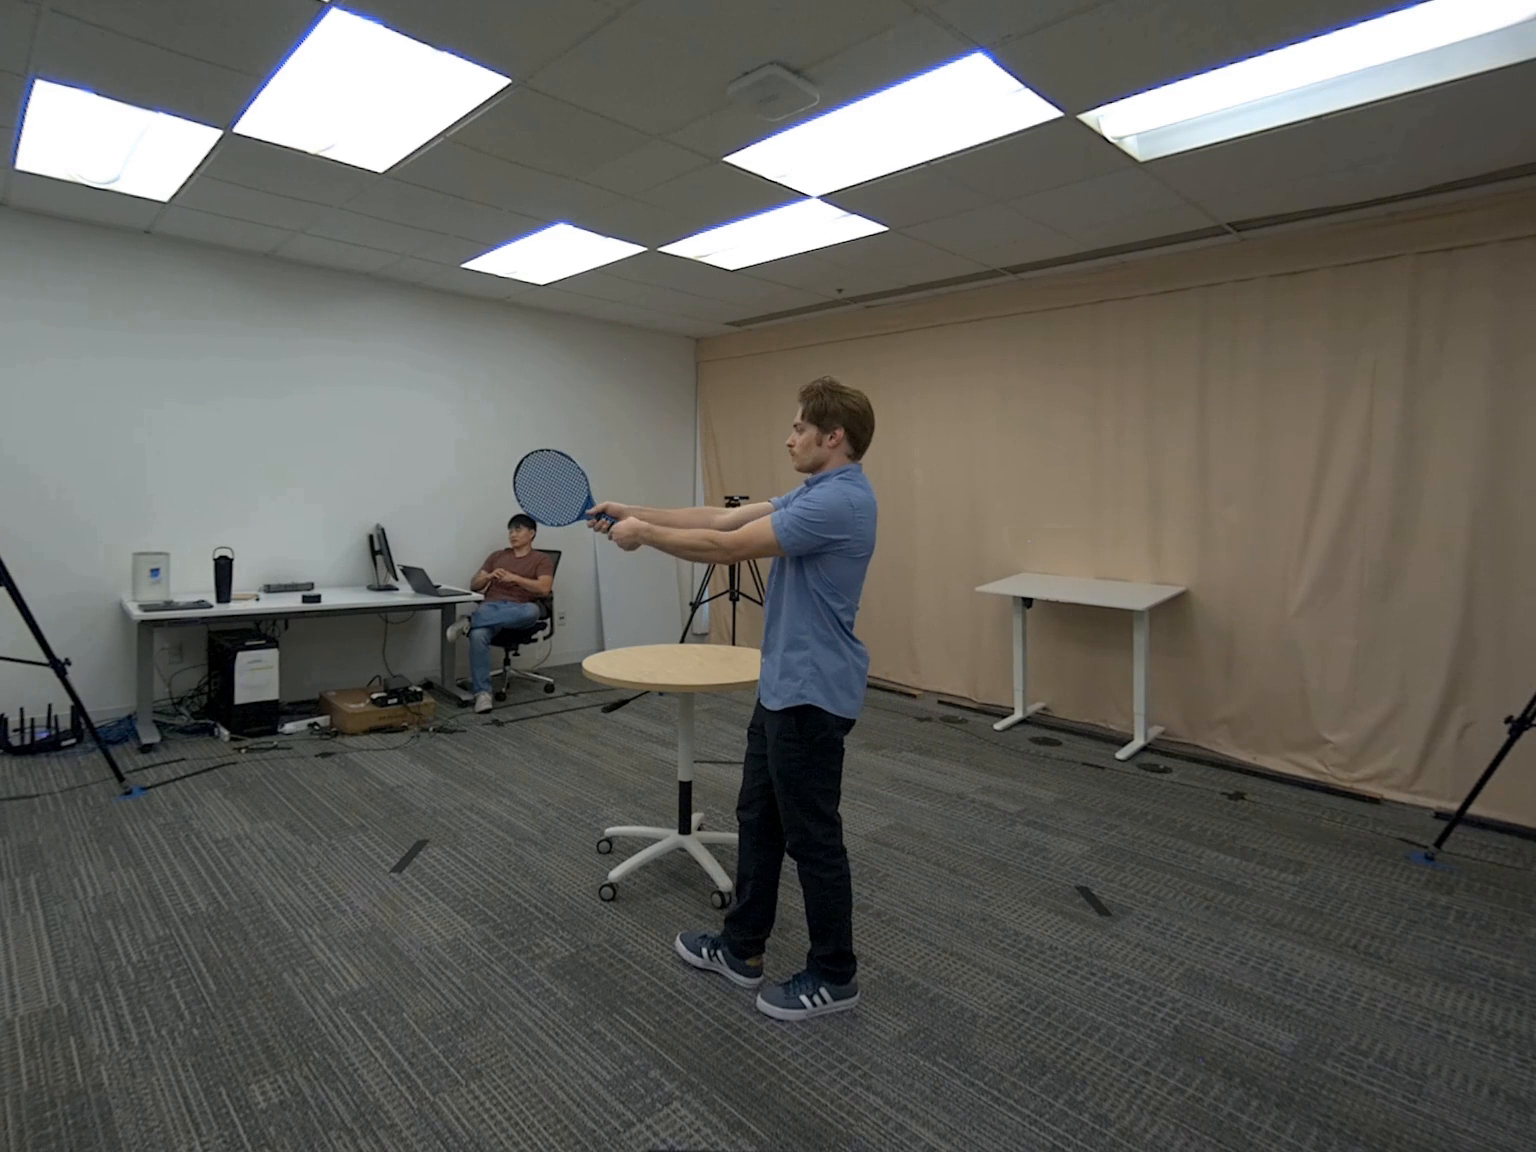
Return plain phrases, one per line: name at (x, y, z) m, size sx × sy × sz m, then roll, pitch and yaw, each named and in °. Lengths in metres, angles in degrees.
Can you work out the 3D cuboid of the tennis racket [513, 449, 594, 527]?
tennis racket at (-0.563, -0.214, 2.388) m, size 0.442 × 0.213 × 0.031 m, roll 32°, pitch 11°, yaw 20°
